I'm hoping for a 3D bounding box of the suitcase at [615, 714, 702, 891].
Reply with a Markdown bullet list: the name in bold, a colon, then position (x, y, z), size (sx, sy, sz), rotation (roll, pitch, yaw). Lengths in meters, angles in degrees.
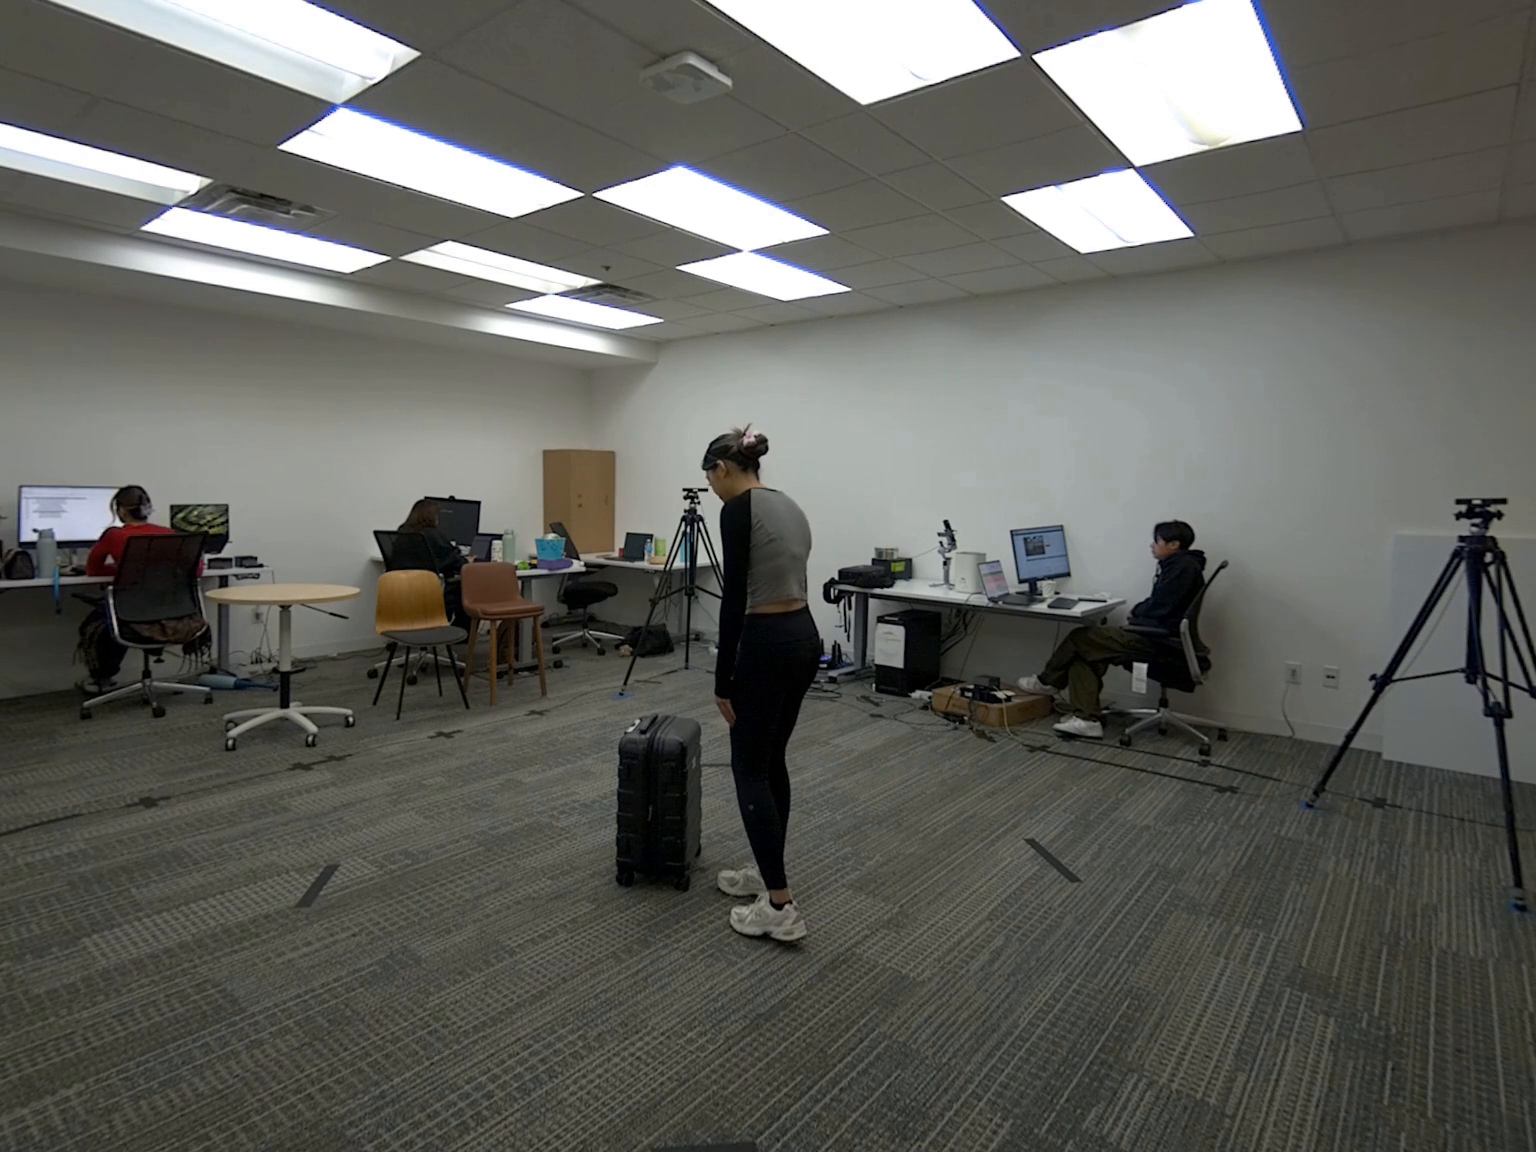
- **suitcase**: position (-0.396, 0.791, 3.080), size (0.251, 0.548, 0.373), rotation (2, 3, 7)
